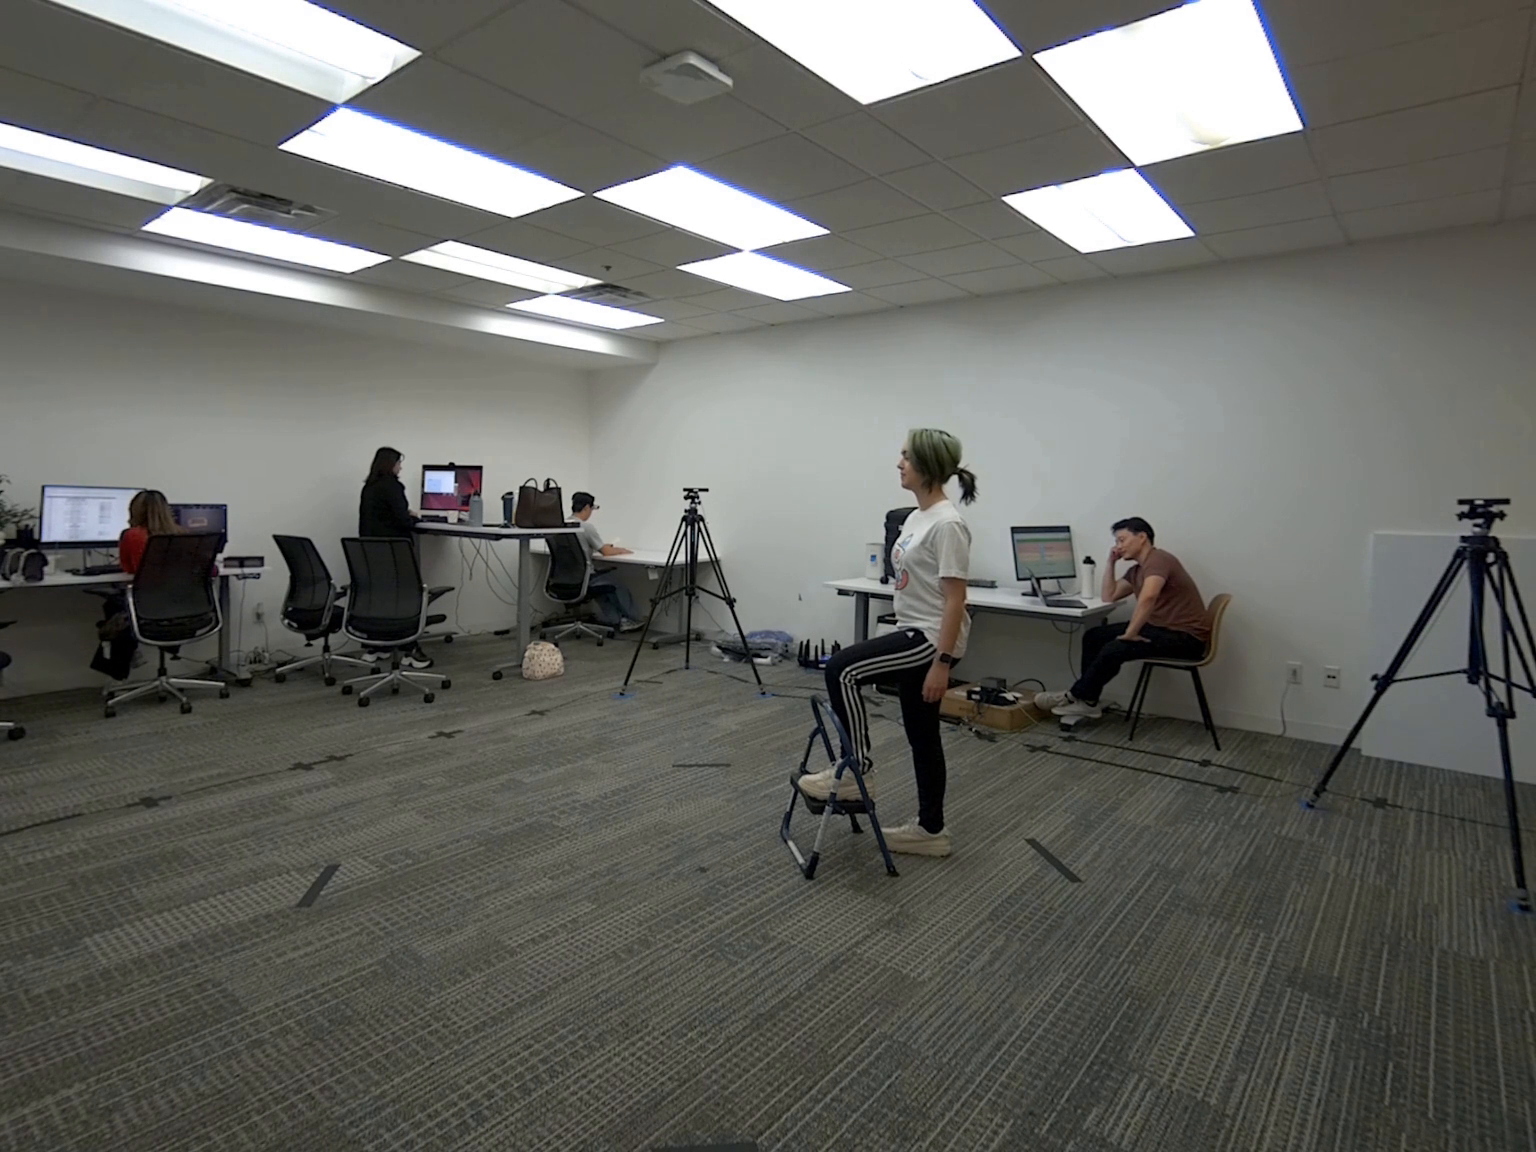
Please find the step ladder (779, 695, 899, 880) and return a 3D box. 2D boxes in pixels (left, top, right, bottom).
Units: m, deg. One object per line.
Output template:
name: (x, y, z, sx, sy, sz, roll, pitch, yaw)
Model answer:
step ladder: (0.259, 0.769, 3.258, 0.345, 0.604, 0.437, 1, 3, -13)
